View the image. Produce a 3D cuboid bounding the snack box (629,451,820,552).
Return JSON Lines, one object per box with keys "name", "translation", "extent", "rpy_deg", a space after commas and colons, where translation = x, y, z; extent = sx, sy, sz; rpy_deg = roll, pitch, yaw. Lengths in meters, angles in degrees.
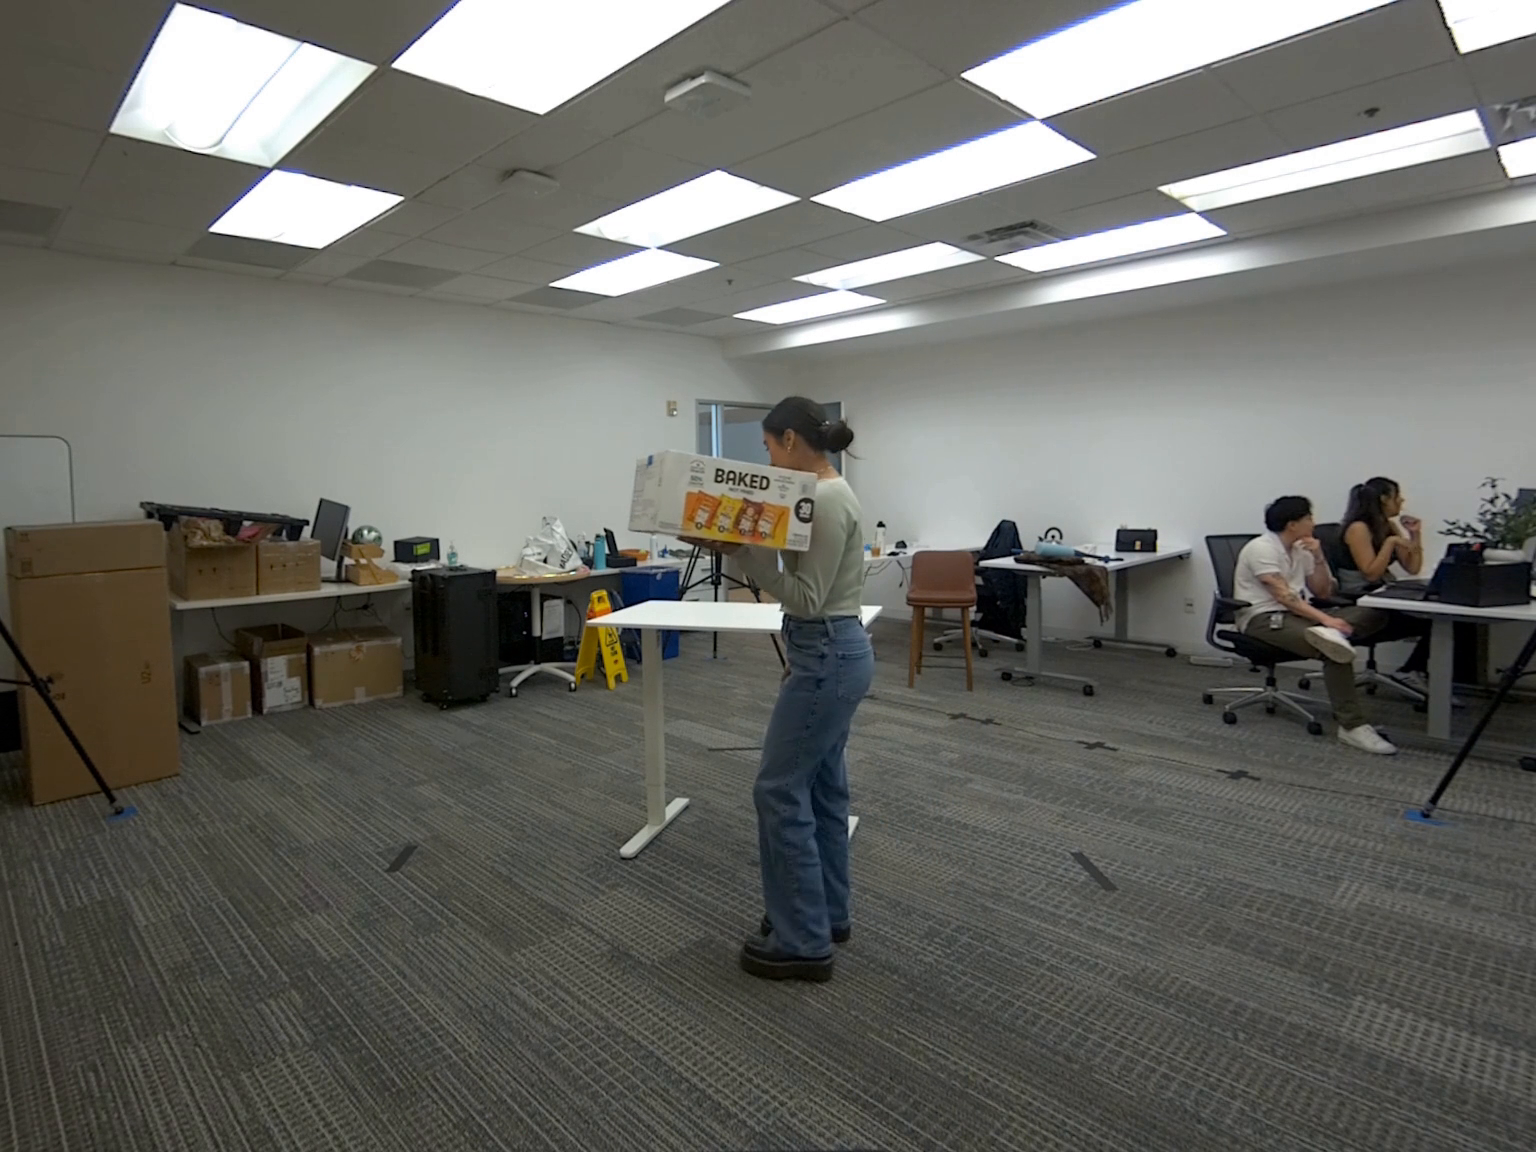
{"name": "snack box", "translation": [-0.126, -0.193, 2.270], "extent": [0.397, 0.206, 0.347], "rpy_deg": [7, 0, -20]}
